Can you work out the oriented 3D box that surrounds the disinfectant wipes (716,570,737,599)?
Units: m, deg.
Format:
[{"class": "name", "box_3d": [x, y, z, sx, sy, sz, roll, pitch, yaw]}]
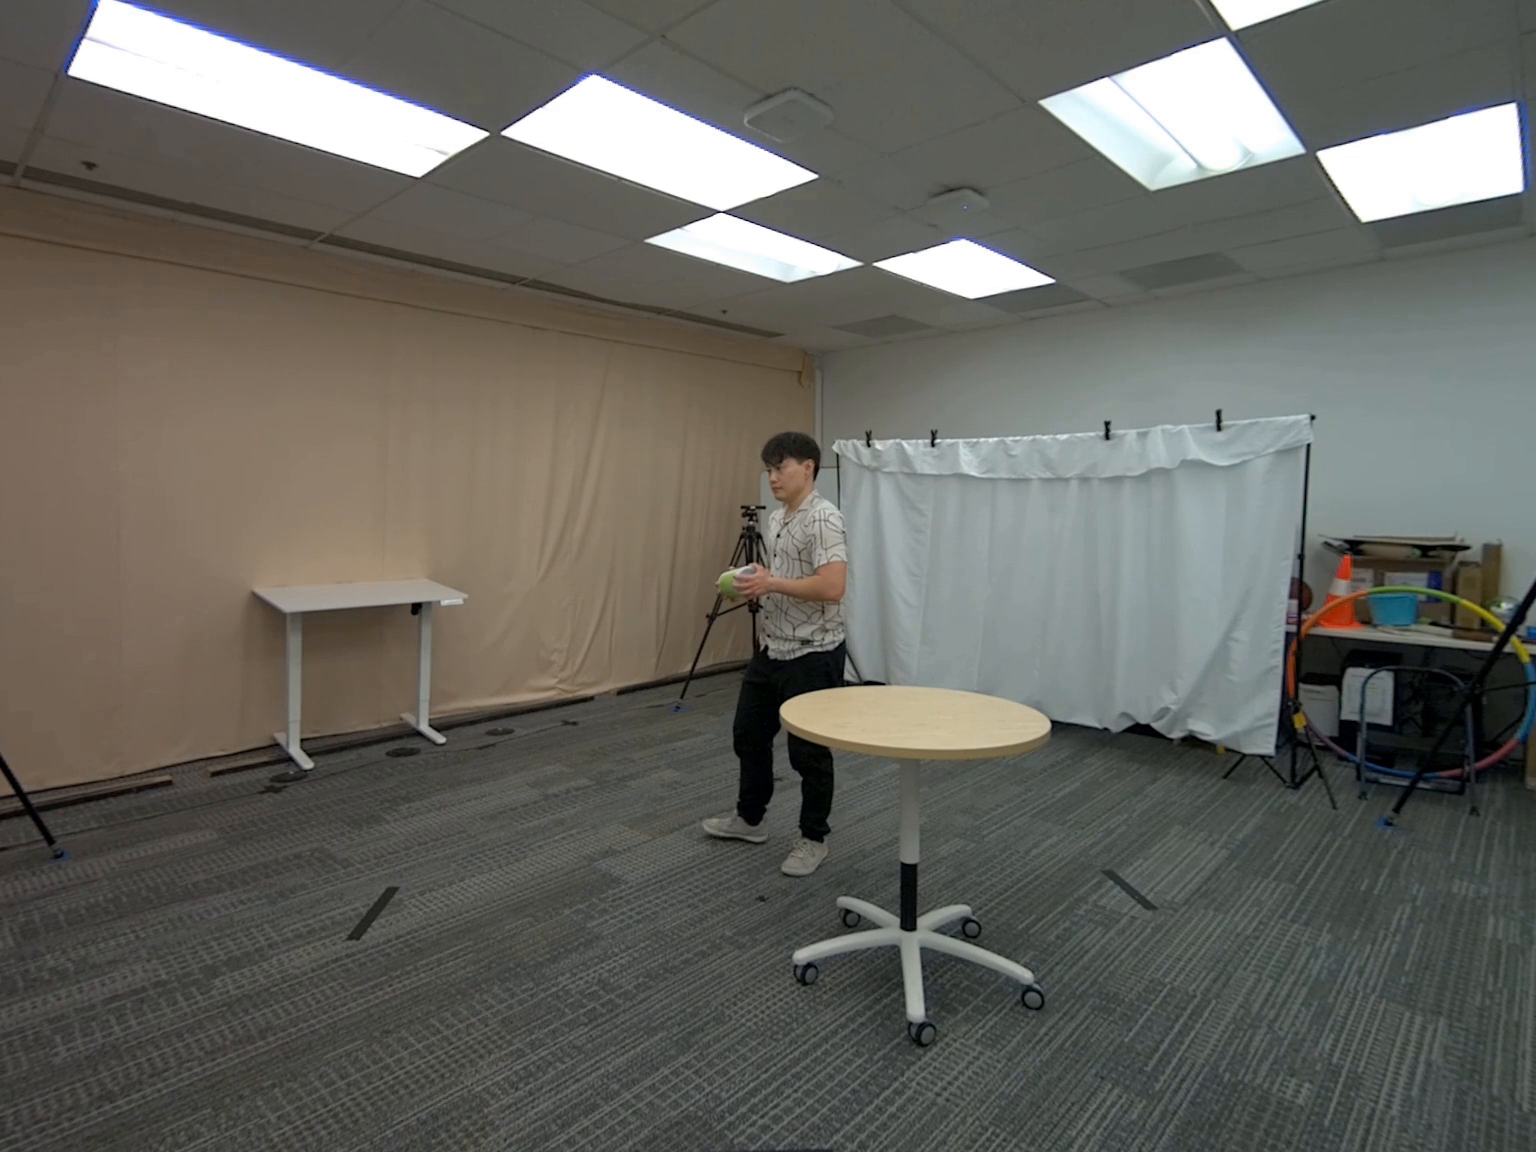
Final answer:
[{"class": "disinfectant wipes", "box_3d": [-0.110, 0.026, 3.205, 0.115, 0.118, 0.221, -1, -5, -23]}]
